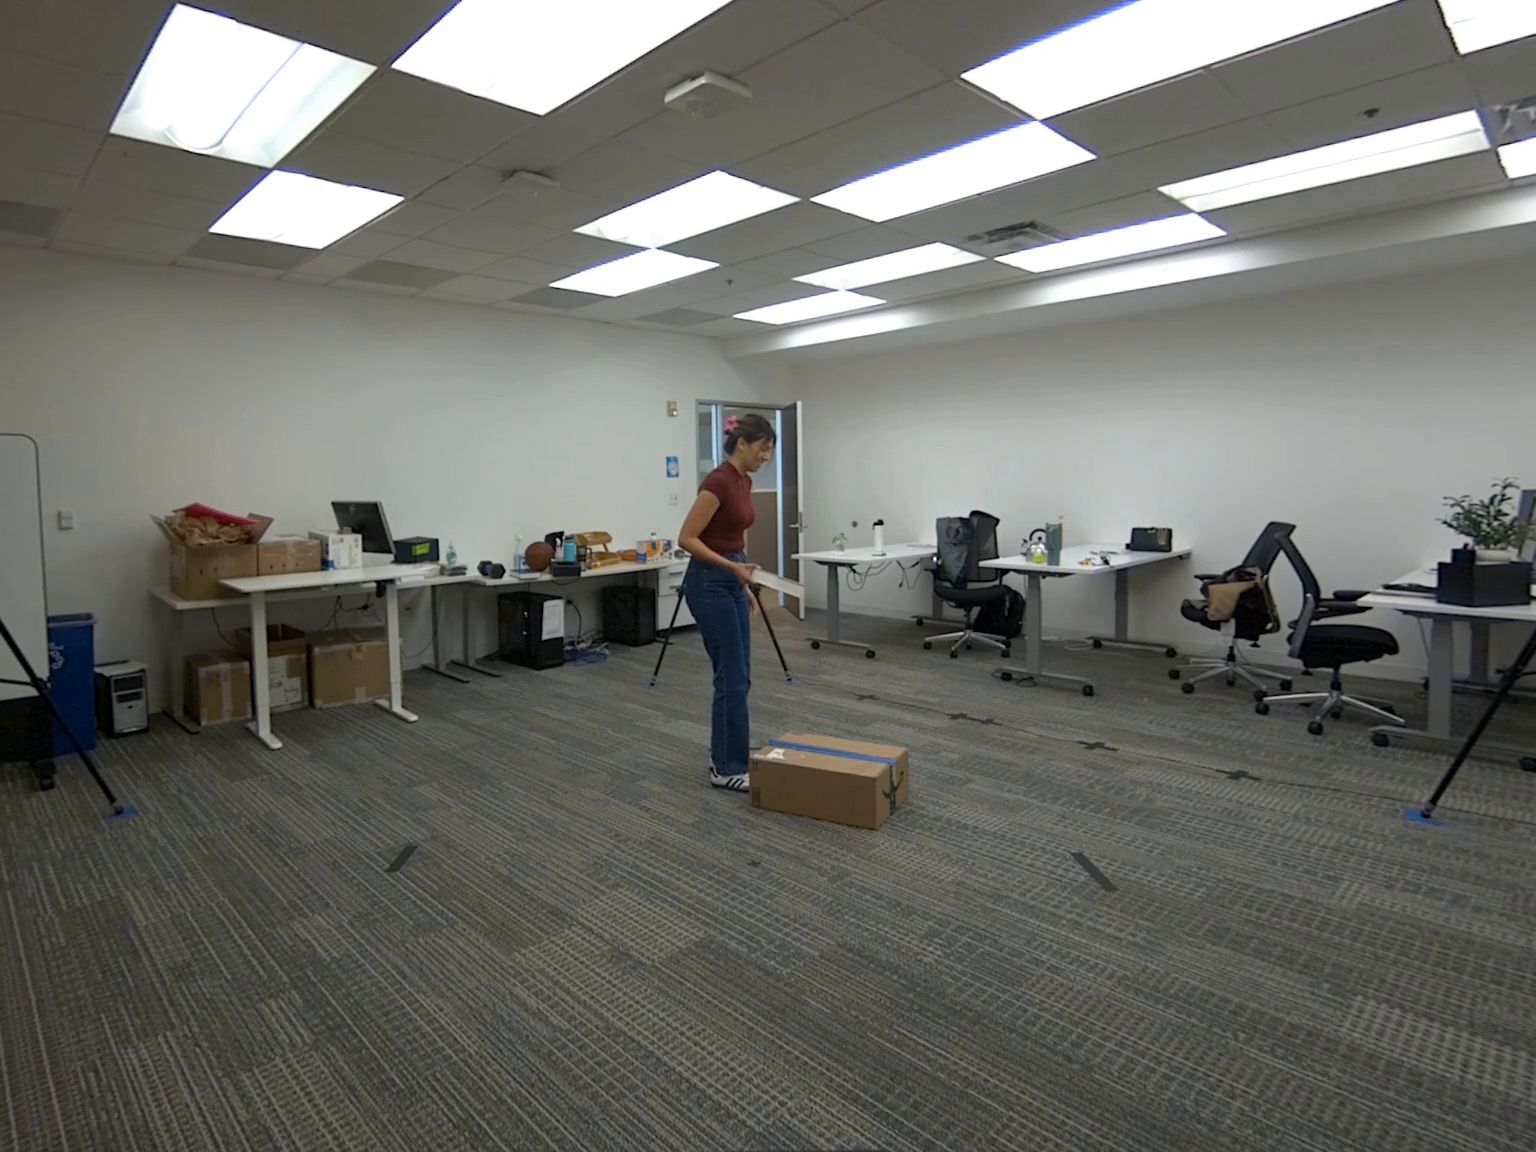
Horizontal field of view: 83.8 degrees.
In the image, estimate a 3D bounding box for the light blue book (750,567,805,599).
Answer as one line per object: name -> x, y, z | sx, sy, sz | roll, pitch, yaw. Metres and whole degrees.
light blue book -> 0.014, 0.024, 3.753 | 0.184, 0.059, 0.270 | 21, -2, -41
